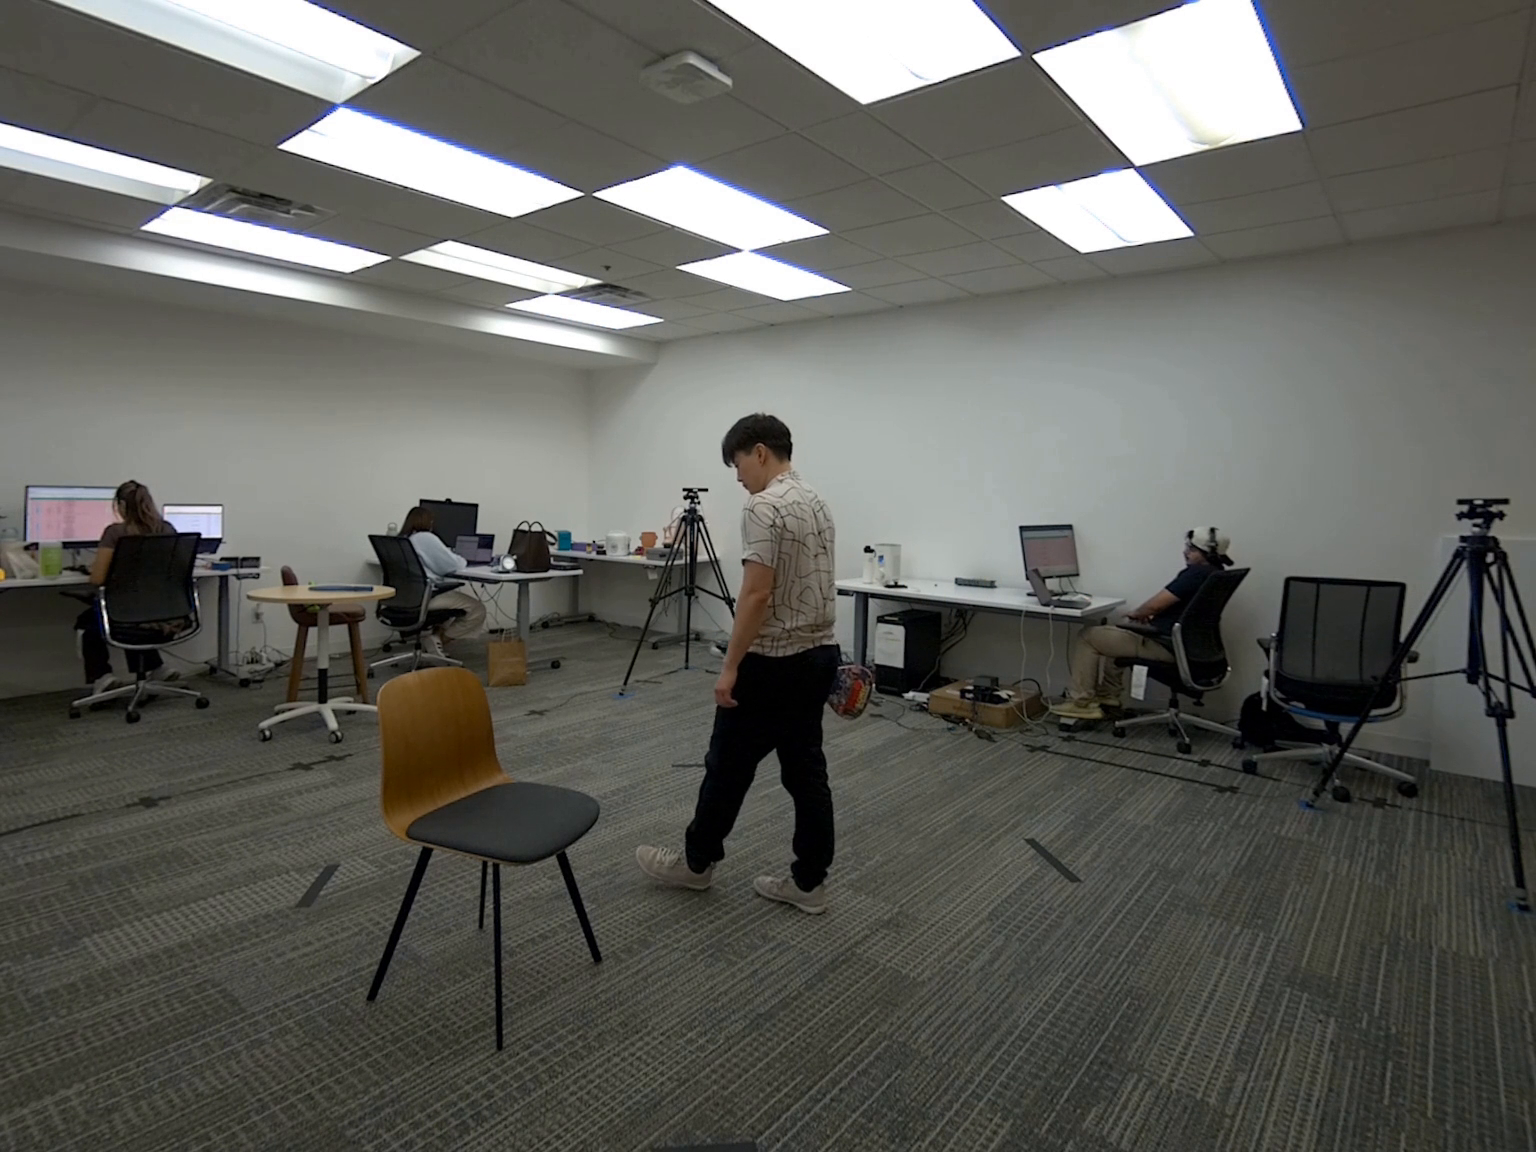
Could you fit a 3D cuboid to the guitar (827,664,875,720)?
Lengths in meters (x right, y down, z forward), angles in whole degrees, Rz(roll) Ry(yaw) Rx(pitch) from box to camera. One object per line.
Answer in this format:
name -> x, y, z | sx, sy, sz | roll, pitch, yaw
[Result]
guitar -> 0.137, 0.332, 3.098 | 0.505, 0.193, 0.070 | 29, 2, 10
